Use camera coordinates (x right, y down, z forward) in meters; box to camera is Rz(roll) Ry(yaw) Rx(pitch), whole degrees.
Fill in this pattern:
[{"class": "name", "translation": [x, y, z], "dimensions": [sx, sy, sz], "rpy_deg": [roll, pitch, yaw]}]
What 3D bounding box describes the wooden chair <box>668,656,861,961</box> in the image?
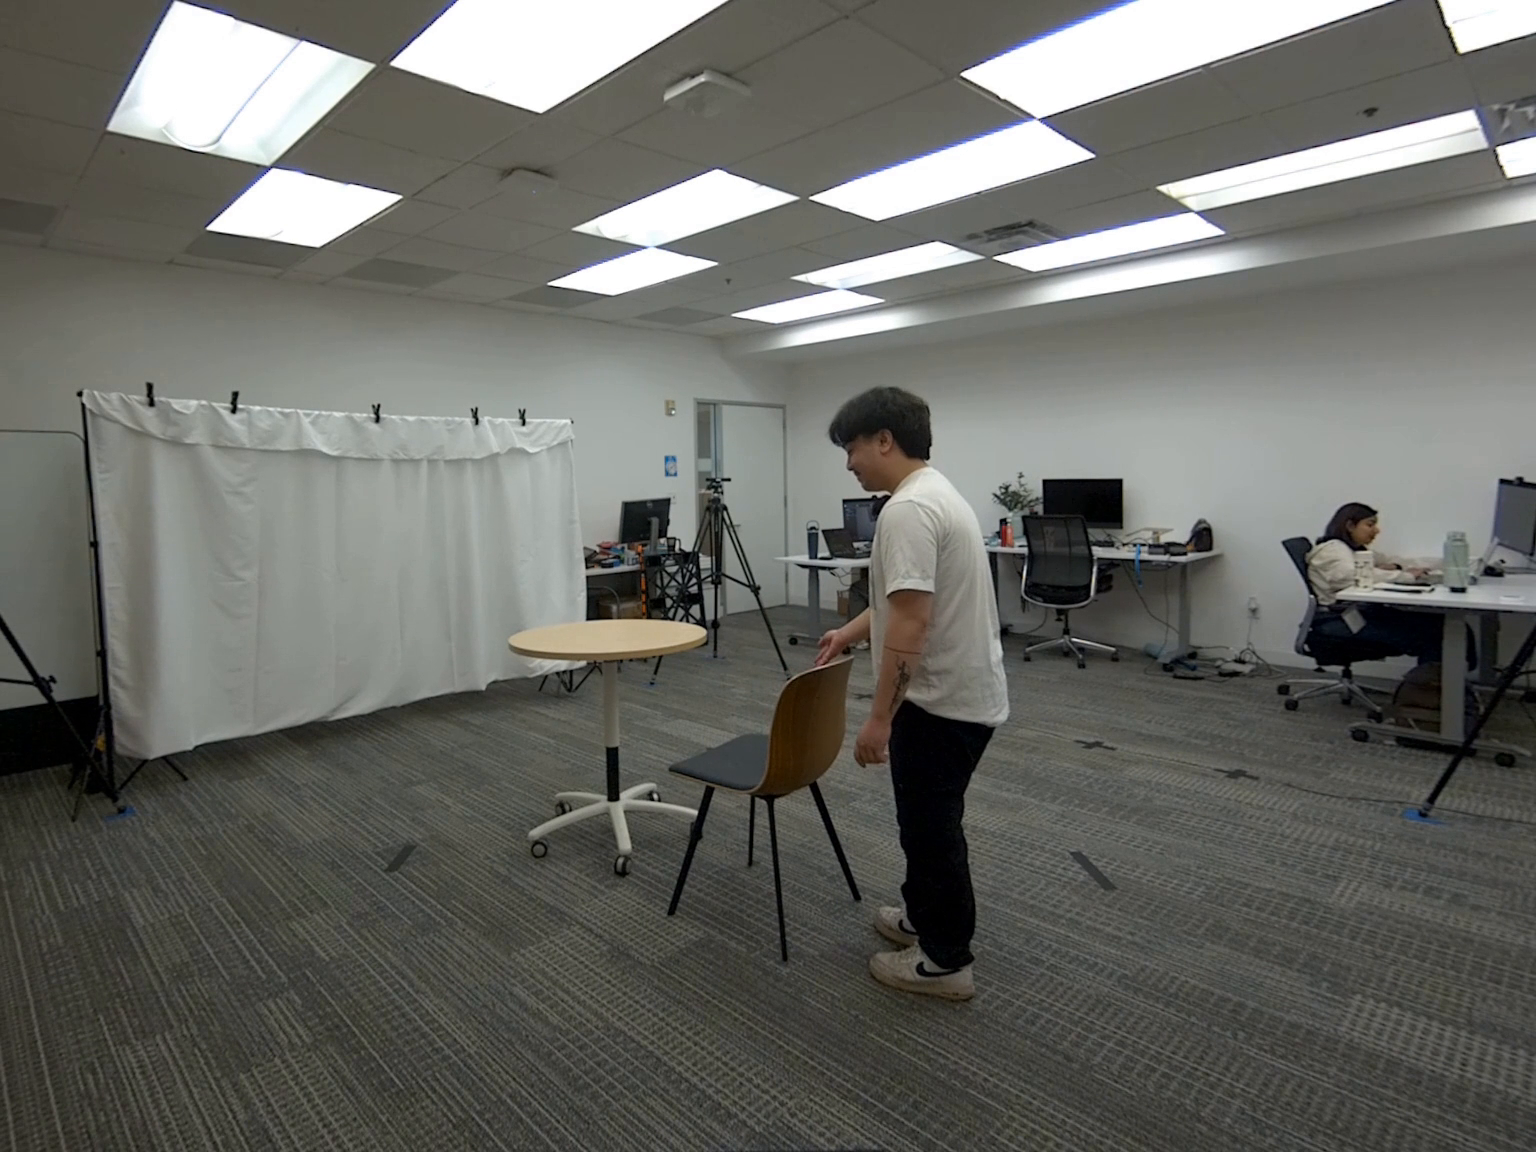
[{"class": "wooden chair", "translation": [-0.019, 0.654, 2.754], "dimensions": [0.540, 0.872, 0.466], "rpy_deg": [8, 9, 36]}]
